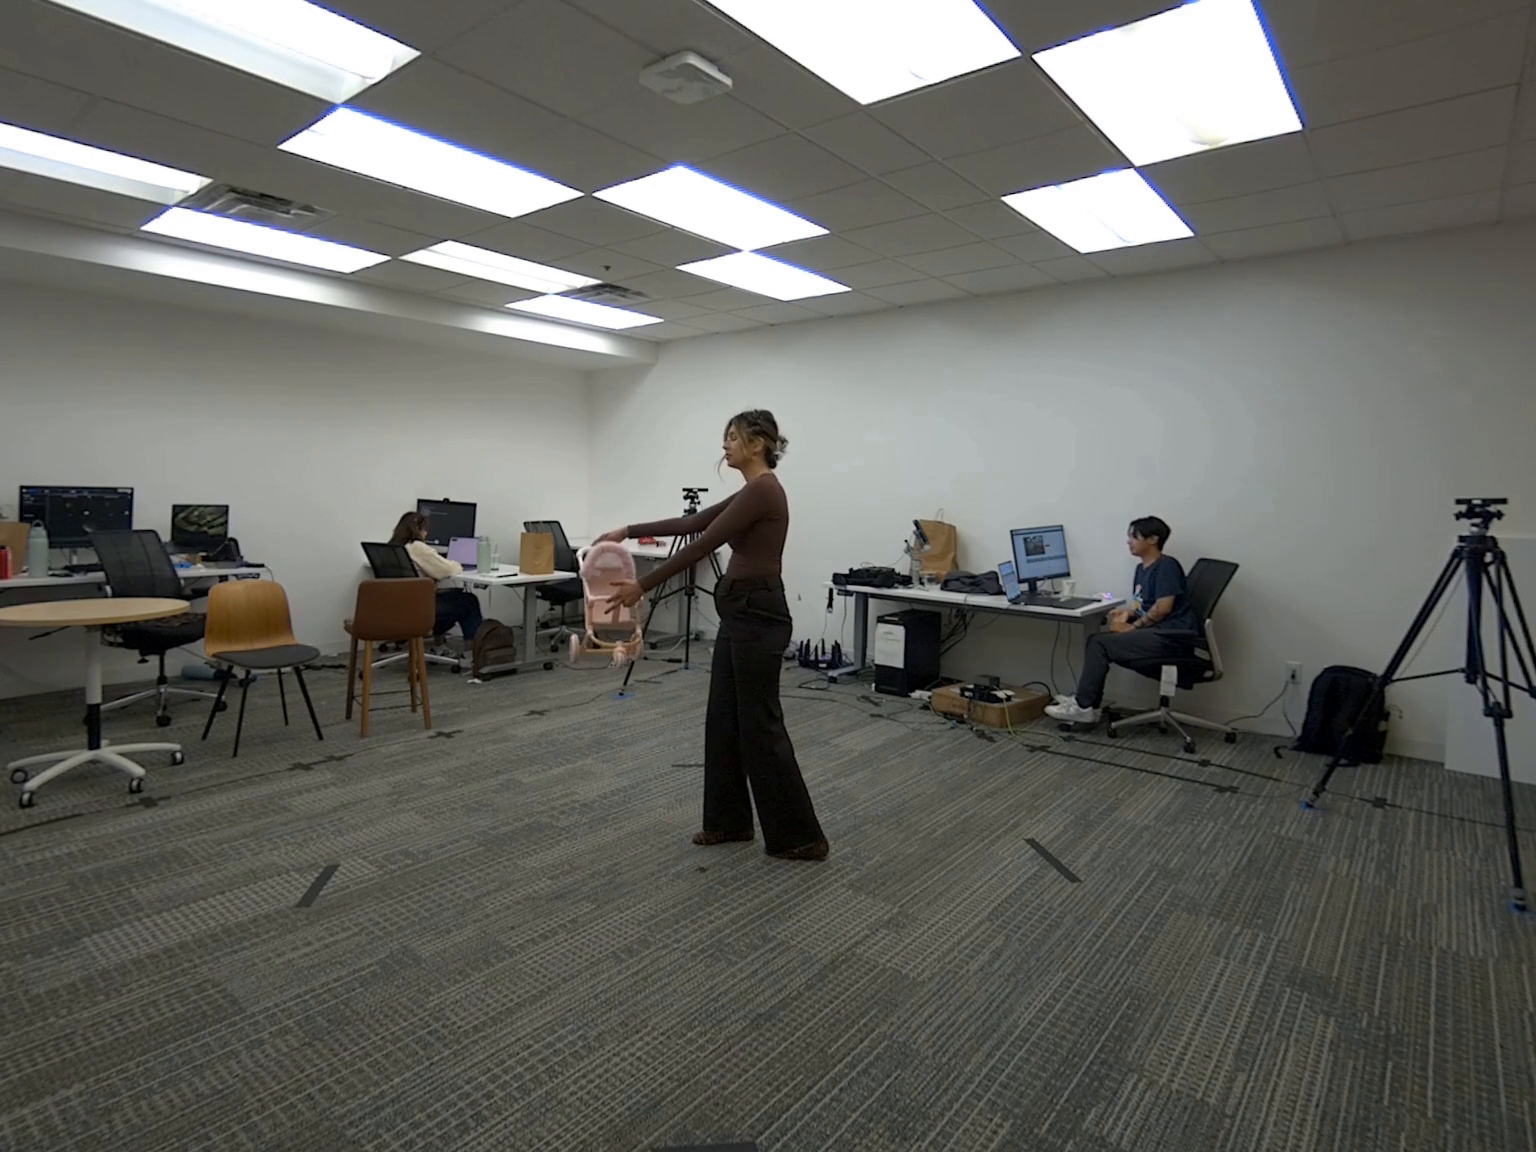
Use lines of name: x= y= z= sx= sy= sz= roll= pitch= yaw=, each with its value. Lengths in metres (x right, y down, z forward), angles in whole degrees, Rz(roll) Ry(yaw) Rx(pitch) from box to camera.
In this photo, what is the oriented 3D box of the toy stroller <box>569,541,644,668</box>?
toy stroller: x=-0.623 y=0.107 z=3.285 sx=0.276 sy=0.543 sz=0.342 roll=0 pitch=-15 yaw=-18
